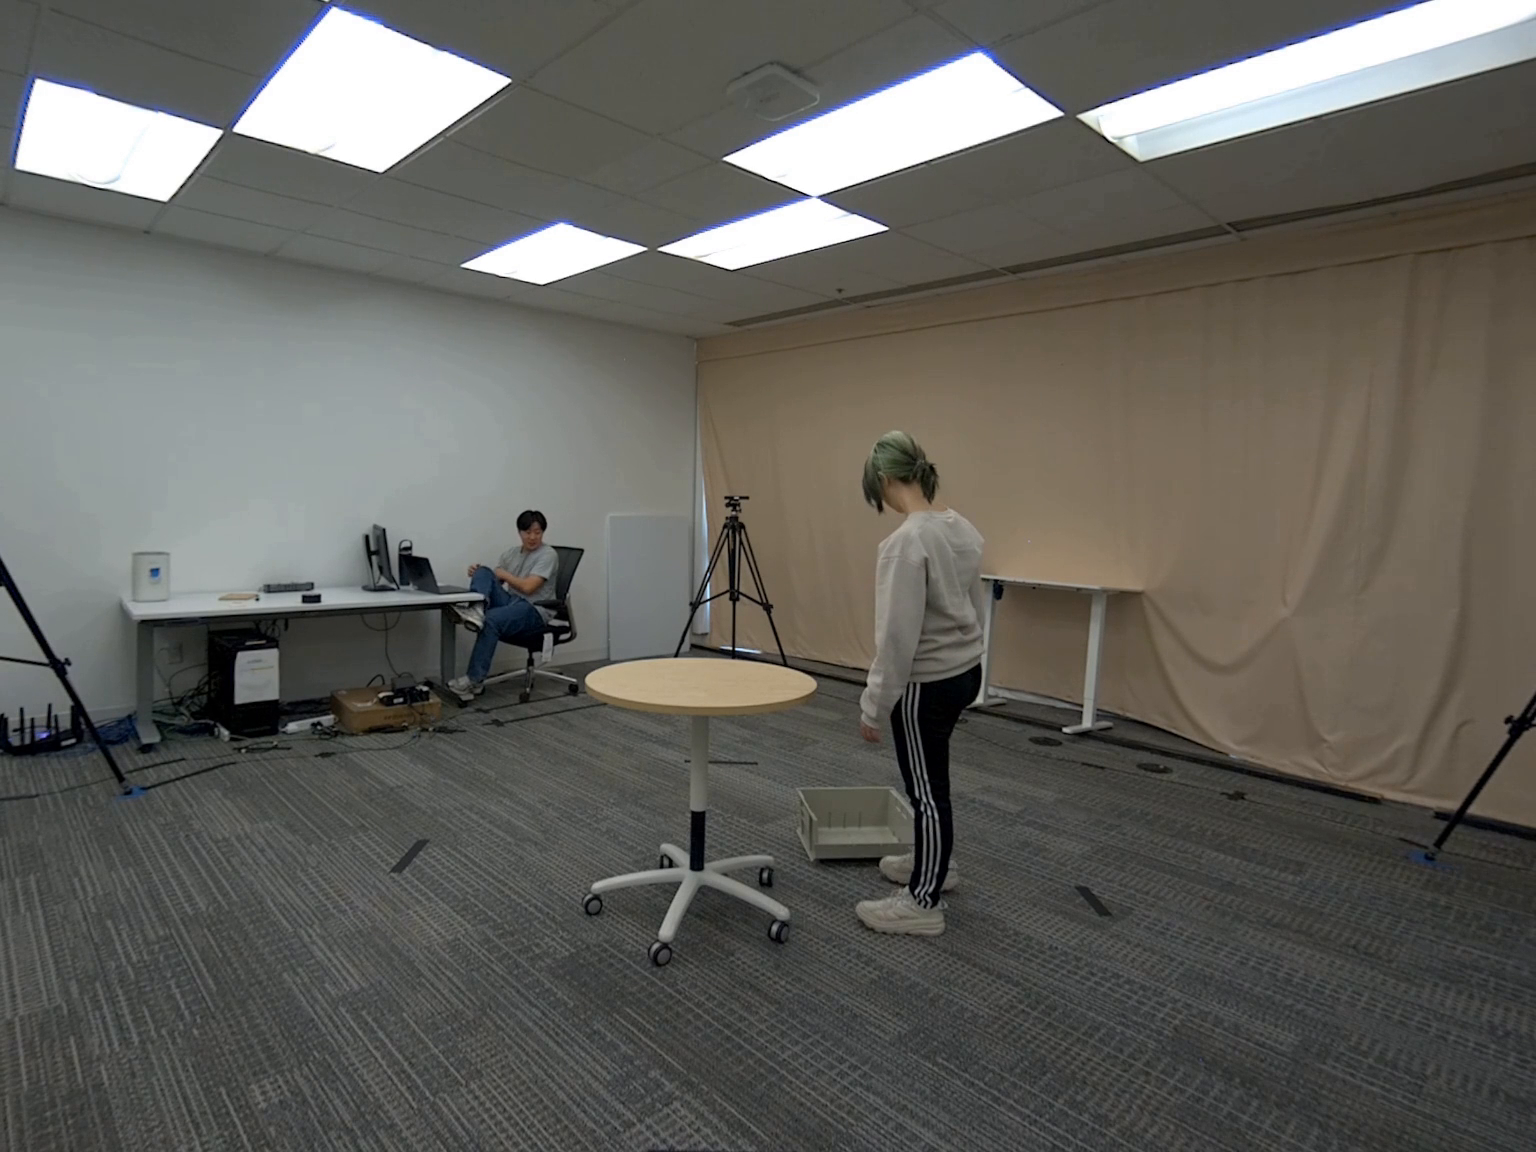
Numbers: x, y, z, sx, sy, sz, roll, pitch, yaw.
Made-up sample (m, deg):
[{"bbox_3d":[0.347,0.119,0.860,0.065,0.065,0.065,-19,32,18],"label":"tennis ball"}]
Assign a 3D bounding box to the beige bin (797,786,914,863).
[{"bbox_3d":[0.347,1.004,3.386,0.420,0.188,0.380,0,4,-8],"label":"beige bin"}]
